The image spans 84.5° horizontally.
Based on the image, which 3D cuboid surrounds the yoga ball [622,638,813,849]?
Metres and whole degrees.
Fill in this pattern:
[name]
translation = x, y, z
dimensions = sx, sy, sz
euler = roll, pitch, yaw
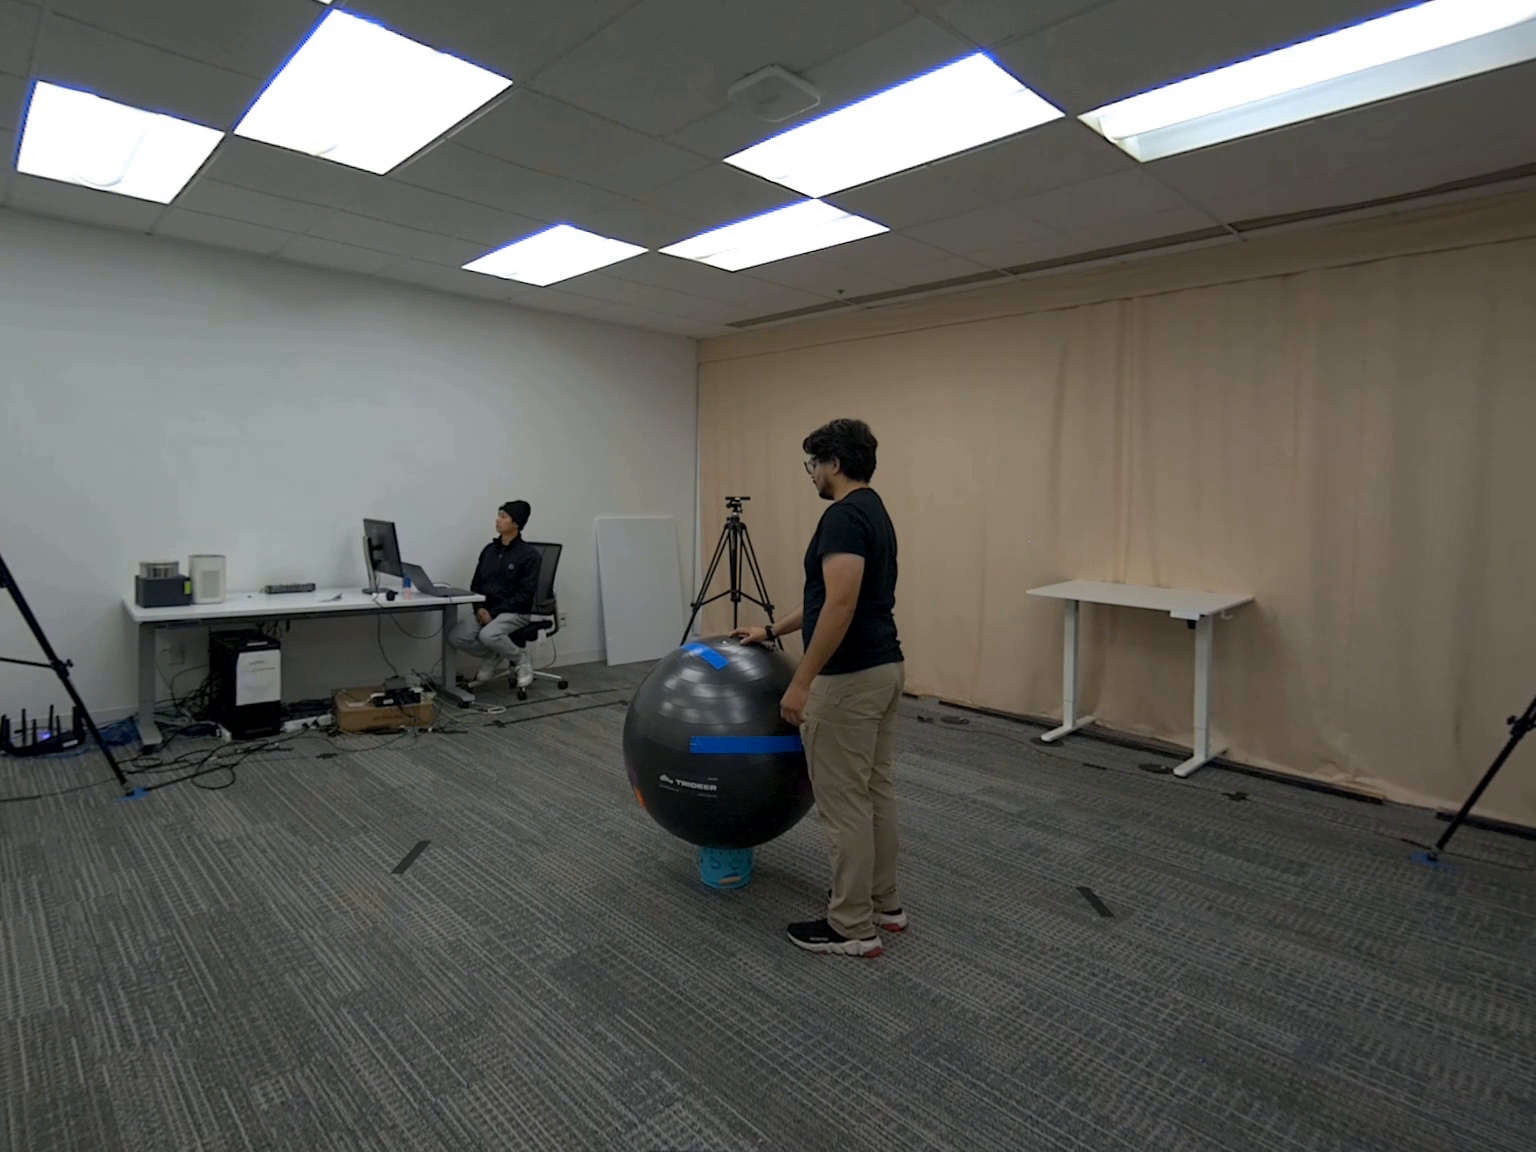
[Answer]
[yoga ball]
translation = -0.152, 0.602, 3.053
dimensions = 0.757, 0.756, 0.760
euler = 1, 4, -1
